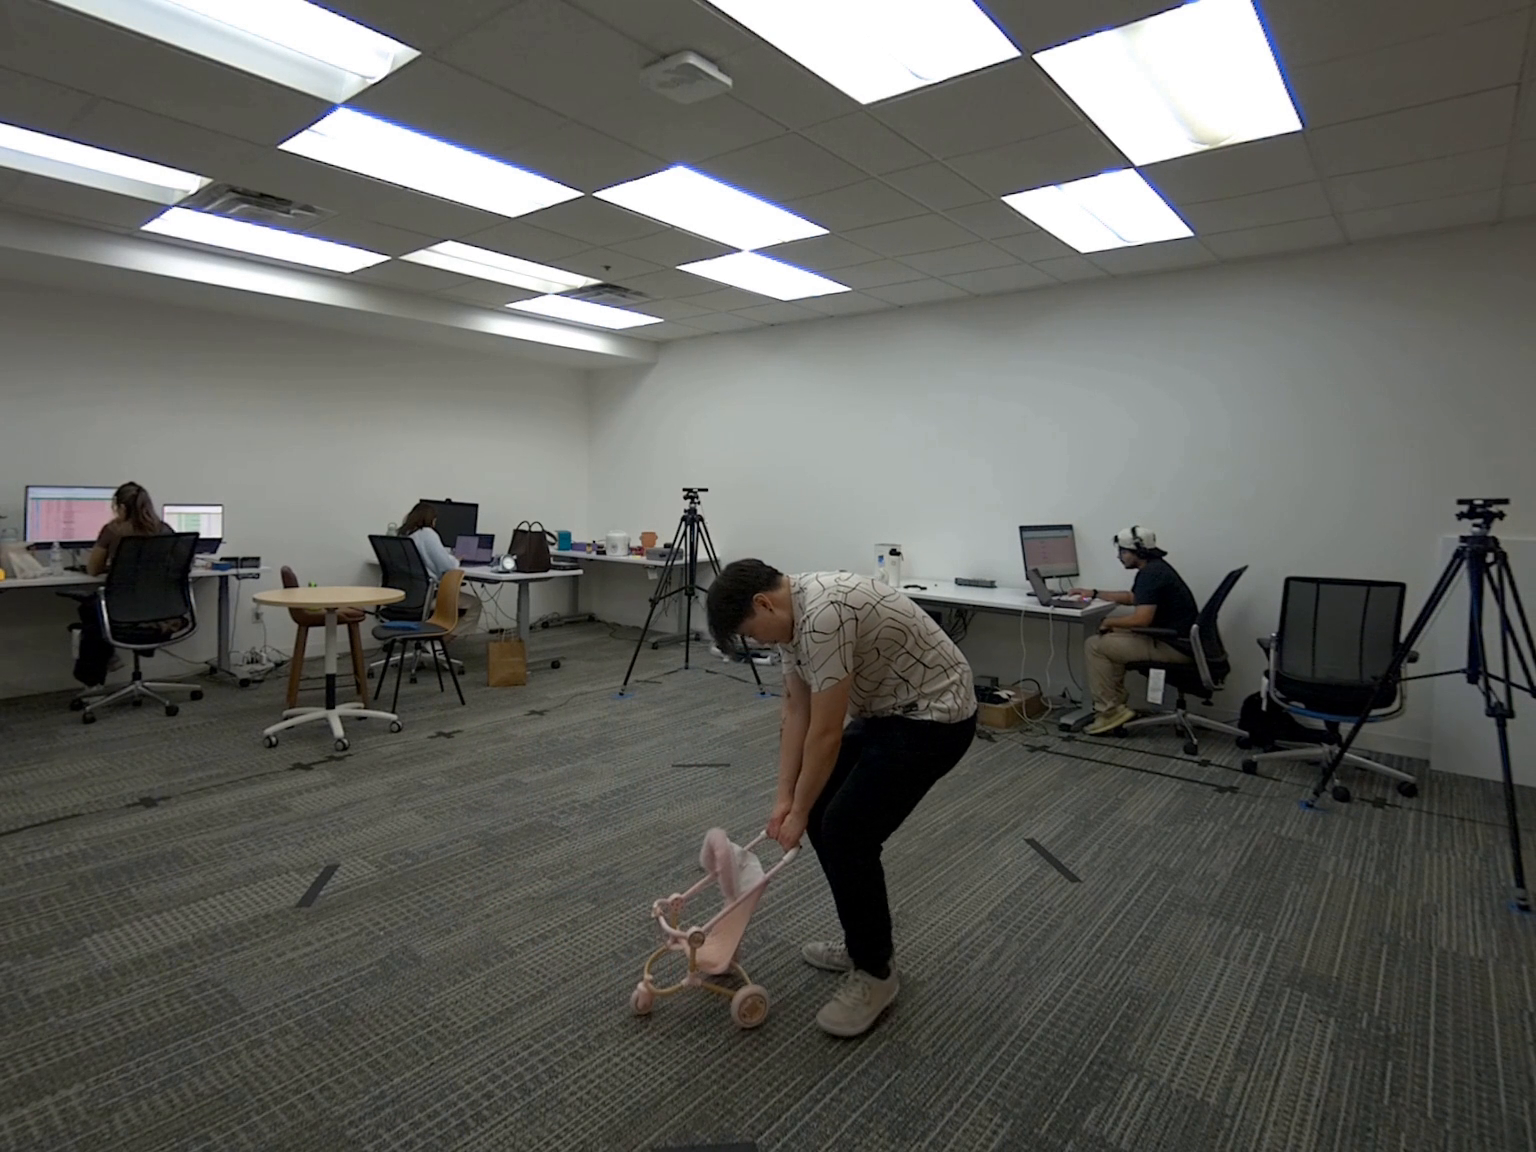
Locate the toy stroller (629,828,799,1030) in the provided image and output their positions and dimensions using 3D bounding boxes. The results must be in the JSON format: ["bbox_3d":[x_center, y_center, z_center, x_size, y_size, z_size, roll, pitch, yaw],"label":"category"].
[{"bbox_3d":[-0.159,0.926,2.290,0.335,0.535,0.286,15,0,-14],"label":"toy stroller"}]
